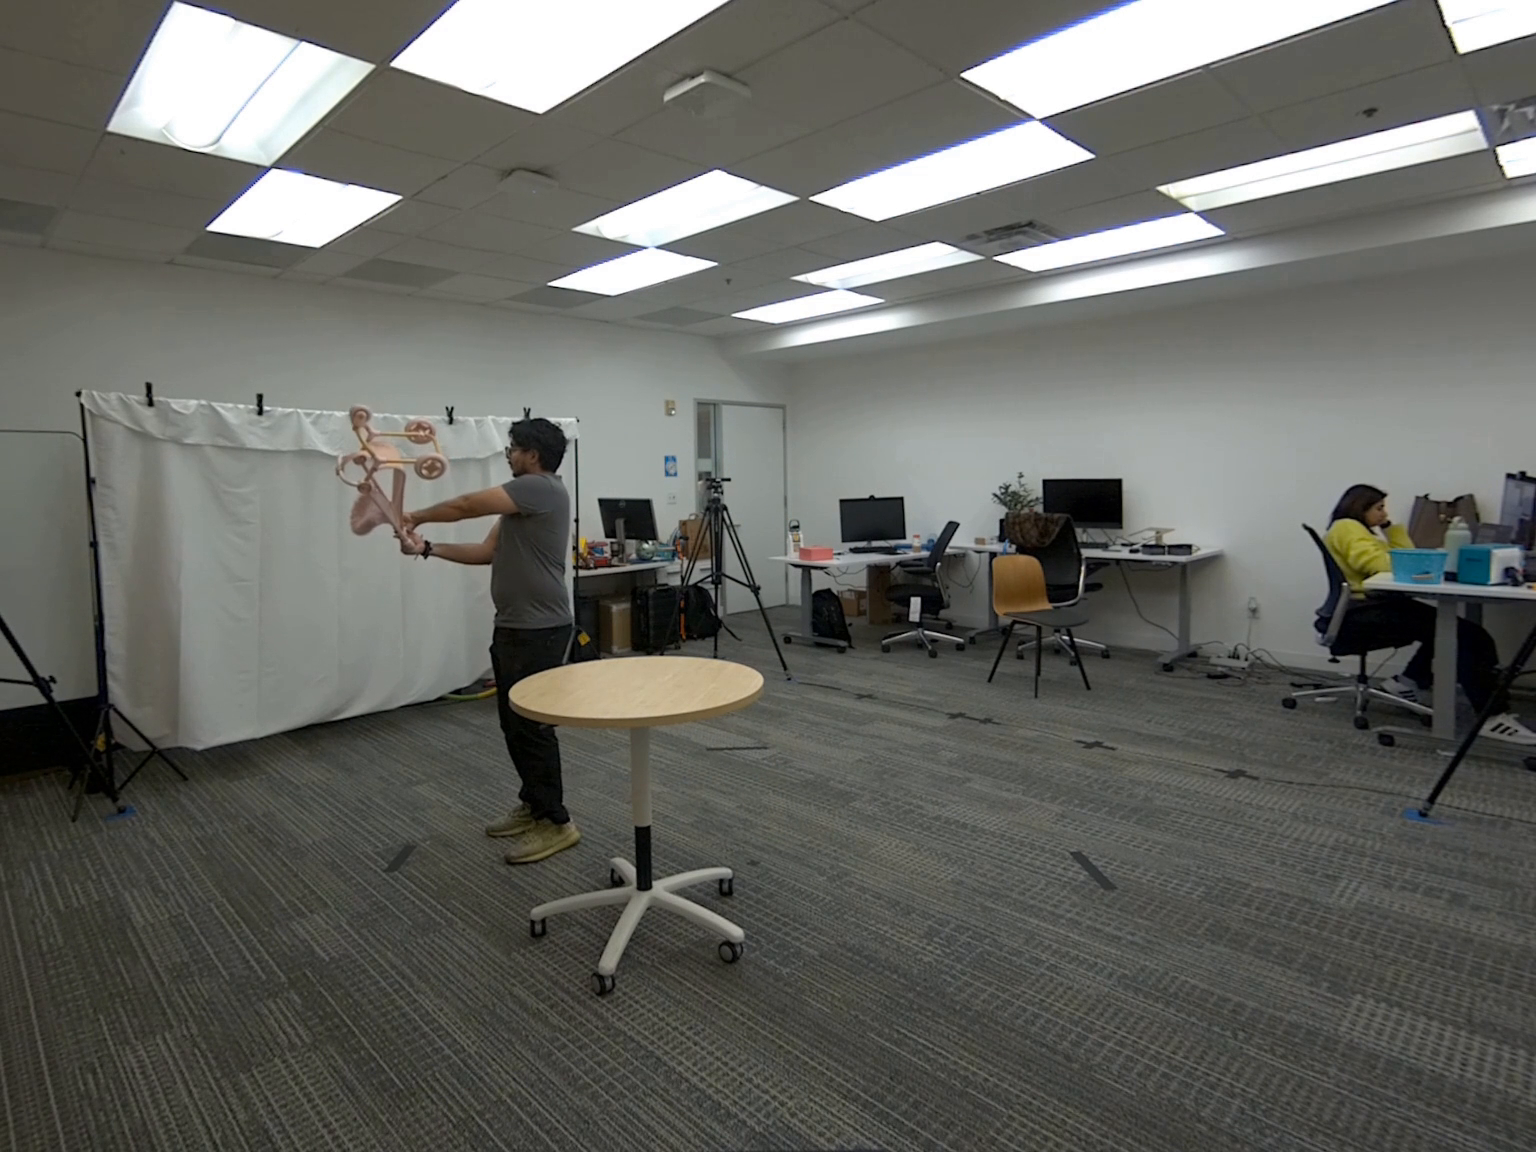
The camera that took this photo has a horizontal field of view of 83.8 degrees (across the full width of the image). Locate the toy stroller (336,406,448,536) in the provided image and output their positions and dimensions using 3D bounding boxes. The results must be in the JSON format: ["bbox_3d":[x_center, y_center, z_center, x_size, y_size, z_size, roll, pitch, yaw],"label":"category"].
[{"bbox_3d":[-1.381,-0.350,3.061,0.331,0.531,0.292,6,35,-41],"label":"toy stroller"}]
